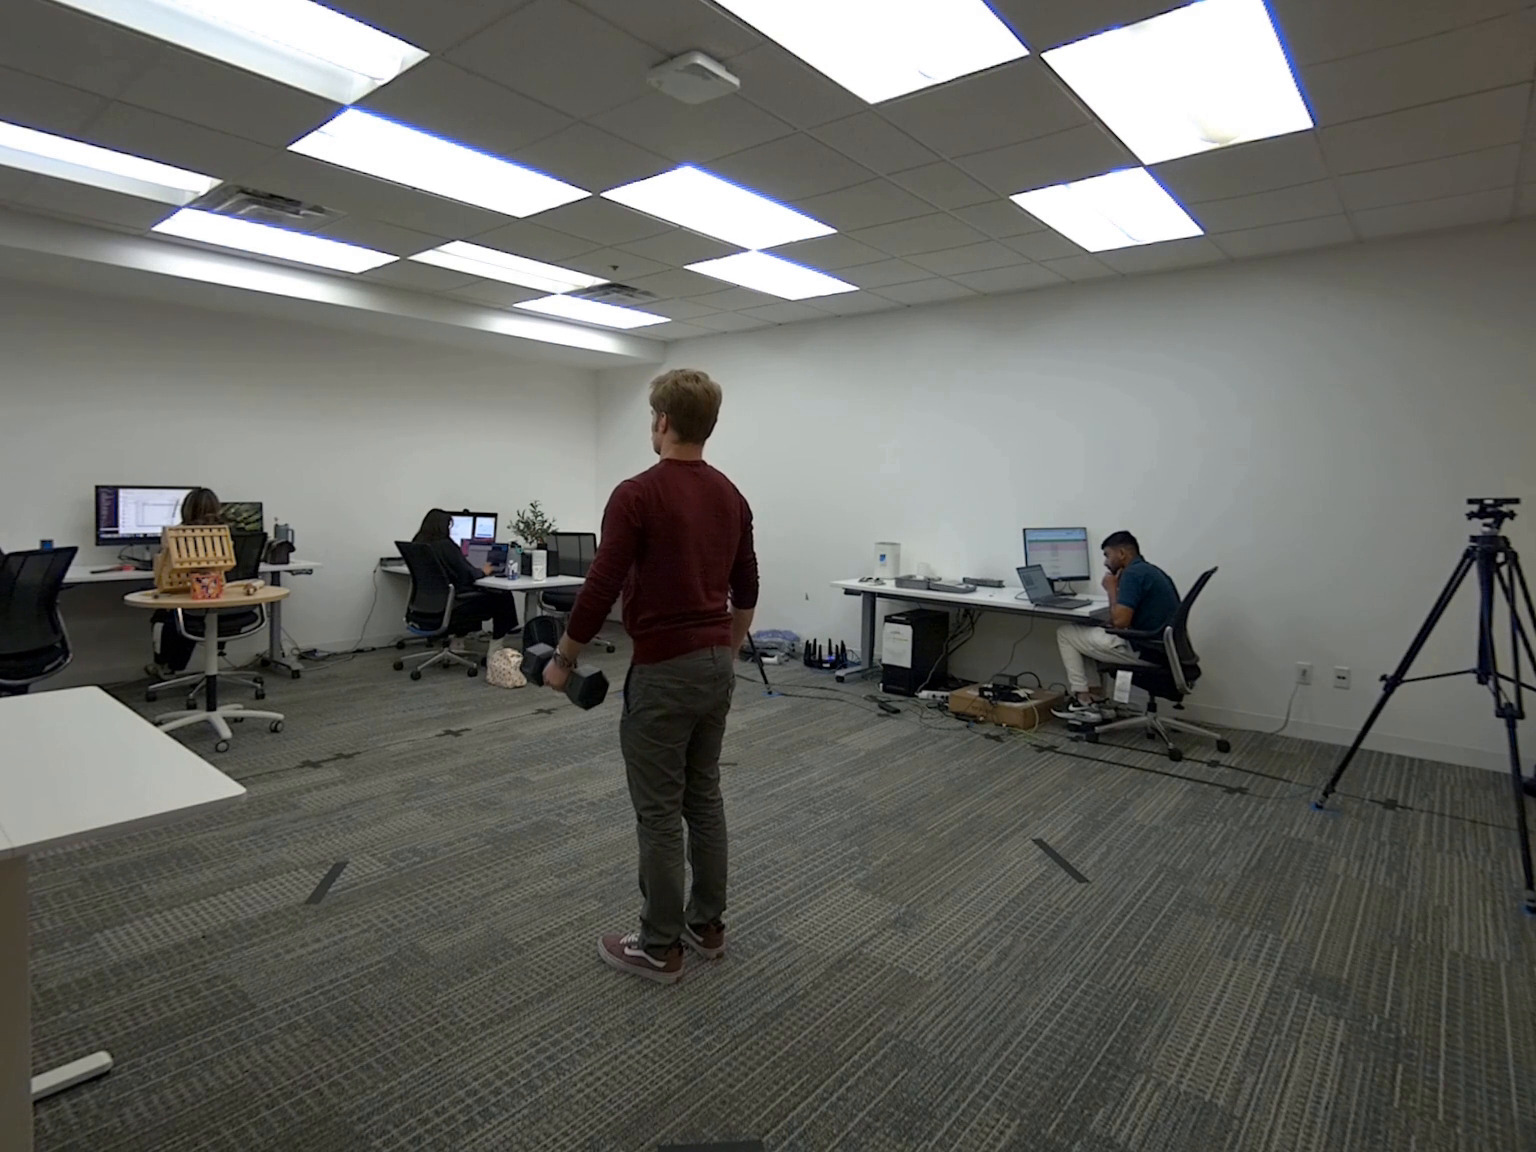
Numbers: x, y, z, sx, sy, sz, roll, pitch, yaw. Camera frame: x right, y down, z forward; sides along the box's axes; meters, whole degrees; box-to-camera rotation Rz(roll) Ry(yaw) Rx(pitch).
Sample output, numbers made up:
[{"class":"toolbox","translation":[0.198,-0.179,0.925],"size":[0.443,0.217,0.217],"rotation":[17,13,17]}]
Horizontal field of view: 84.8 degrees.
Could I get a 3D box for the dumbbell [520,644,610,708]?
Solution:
[{"class":"dumbbell","translation":[-0.654,0.261,2.521],"size":[0.303,0.123,0.105],"rotation":[16,0,28]}]
